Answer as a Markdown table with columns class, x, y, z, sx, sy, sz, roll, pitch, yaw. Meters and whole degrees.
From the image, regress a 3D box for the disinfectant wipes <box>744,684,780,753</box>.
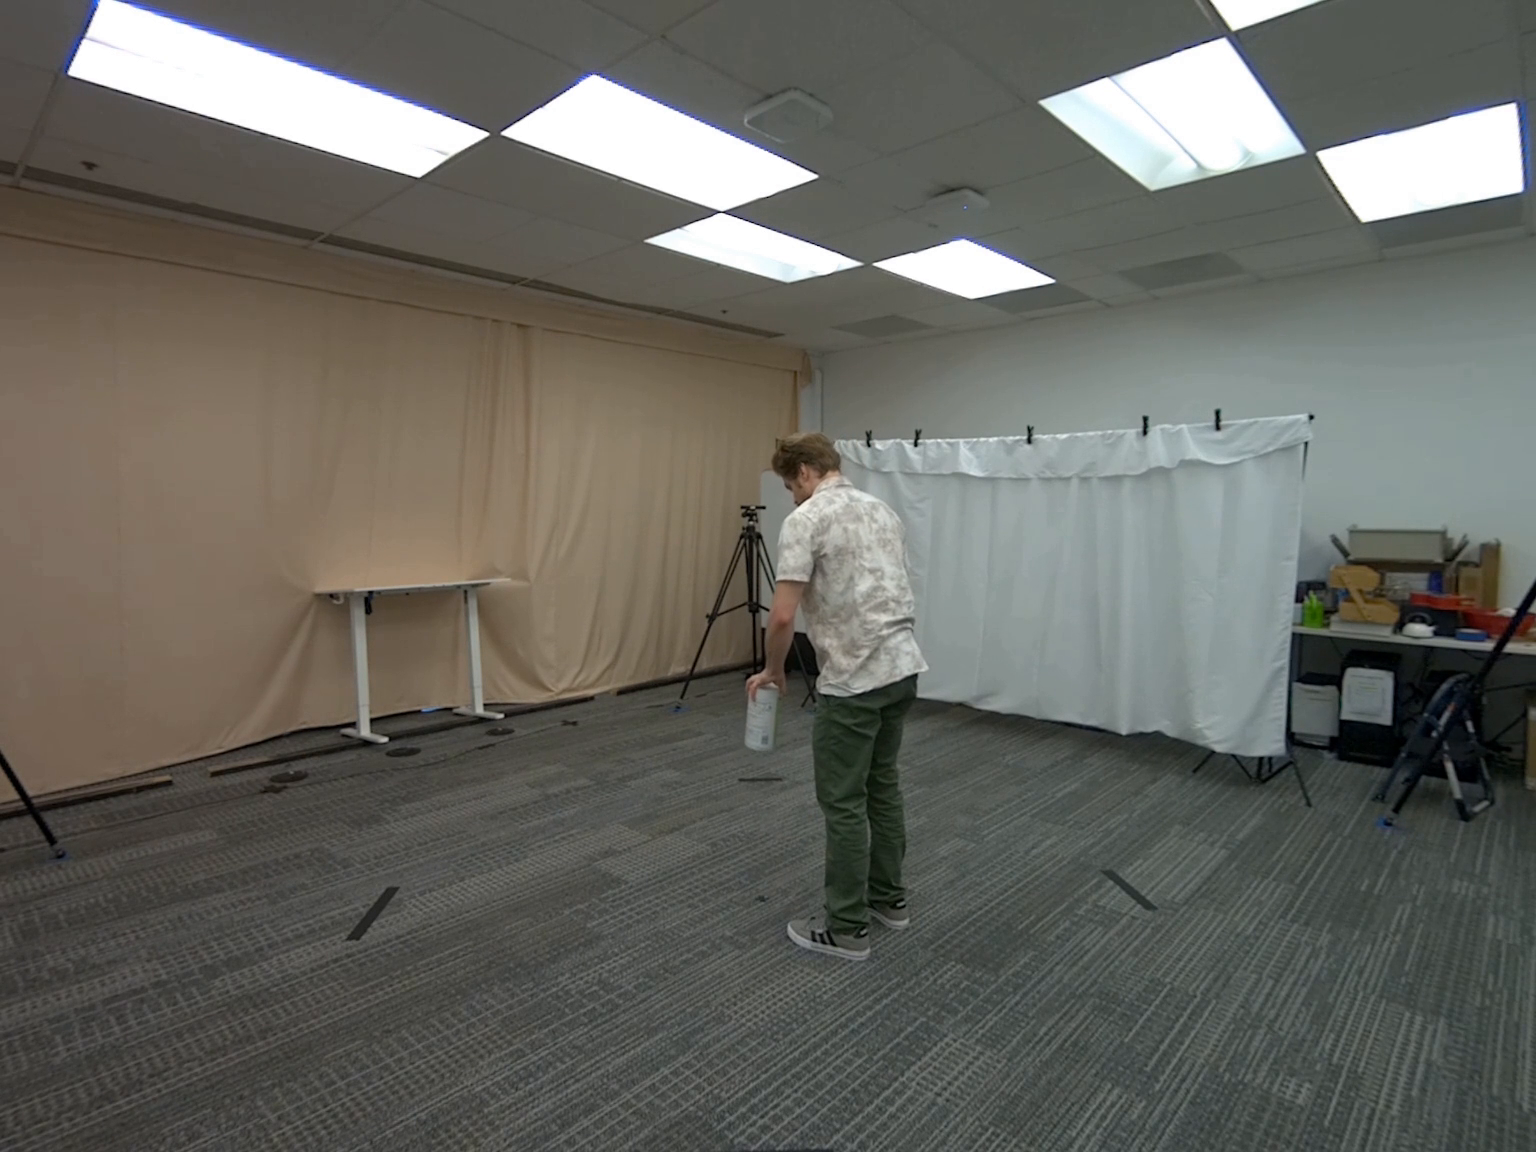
| class | x | y | z | sx | sy | sz | roll | pitch | yaw |
| --- | --- | --- | --- | --- | --- | --- | --- | --- | --- |
| disinfectant wipes | -0.006 | 0.484 | 2.863 | 0.117 | 0.217 | 0.118 | 5 | 6 | -2 |
